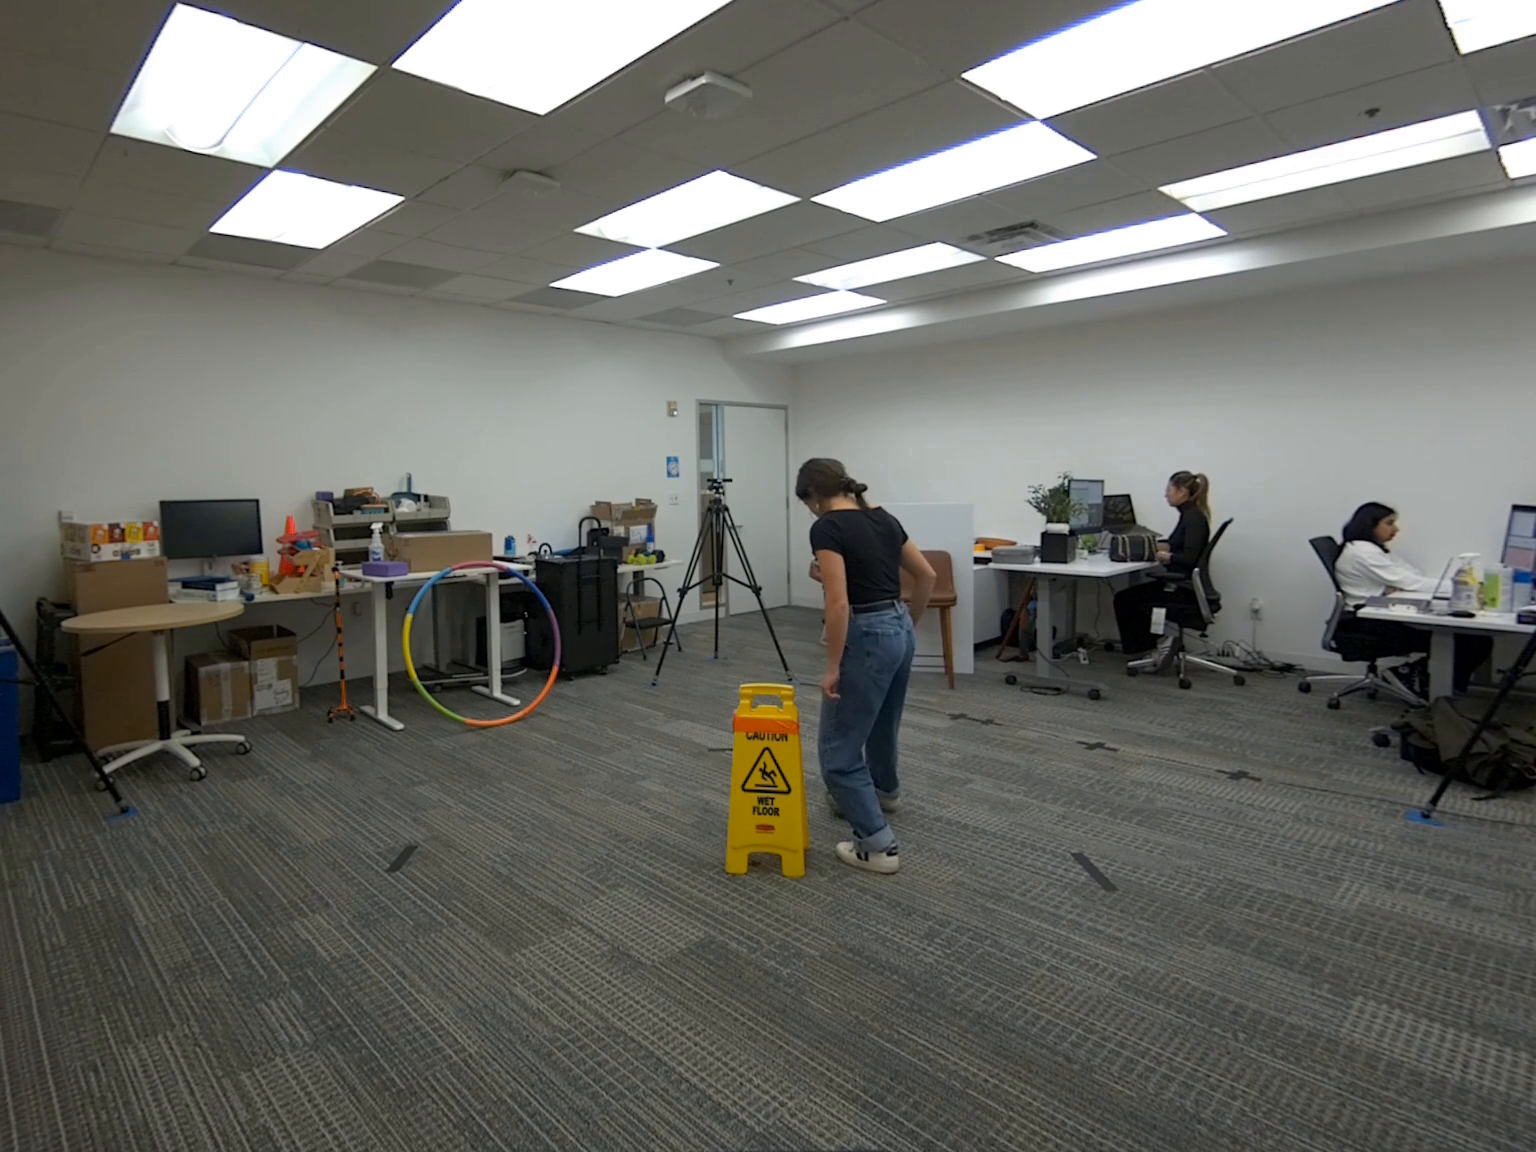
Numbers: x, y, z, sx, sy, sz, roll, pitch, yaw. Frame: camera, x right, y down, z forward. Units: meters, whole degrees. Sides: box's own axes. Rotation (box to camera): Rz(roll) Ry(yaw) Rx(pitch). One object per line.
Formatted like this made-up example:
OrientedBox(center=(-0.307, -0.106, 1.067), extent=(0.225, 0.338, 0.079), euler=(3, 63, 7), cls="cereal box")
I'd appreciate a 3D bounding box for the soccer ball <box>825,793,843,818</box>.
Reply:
OrientedBox(center=(0.327, 0.902, 3.535), extent=(0.187, 0.187, 0.188), euler=(-1, 5, -2), cls="soccer ball")
